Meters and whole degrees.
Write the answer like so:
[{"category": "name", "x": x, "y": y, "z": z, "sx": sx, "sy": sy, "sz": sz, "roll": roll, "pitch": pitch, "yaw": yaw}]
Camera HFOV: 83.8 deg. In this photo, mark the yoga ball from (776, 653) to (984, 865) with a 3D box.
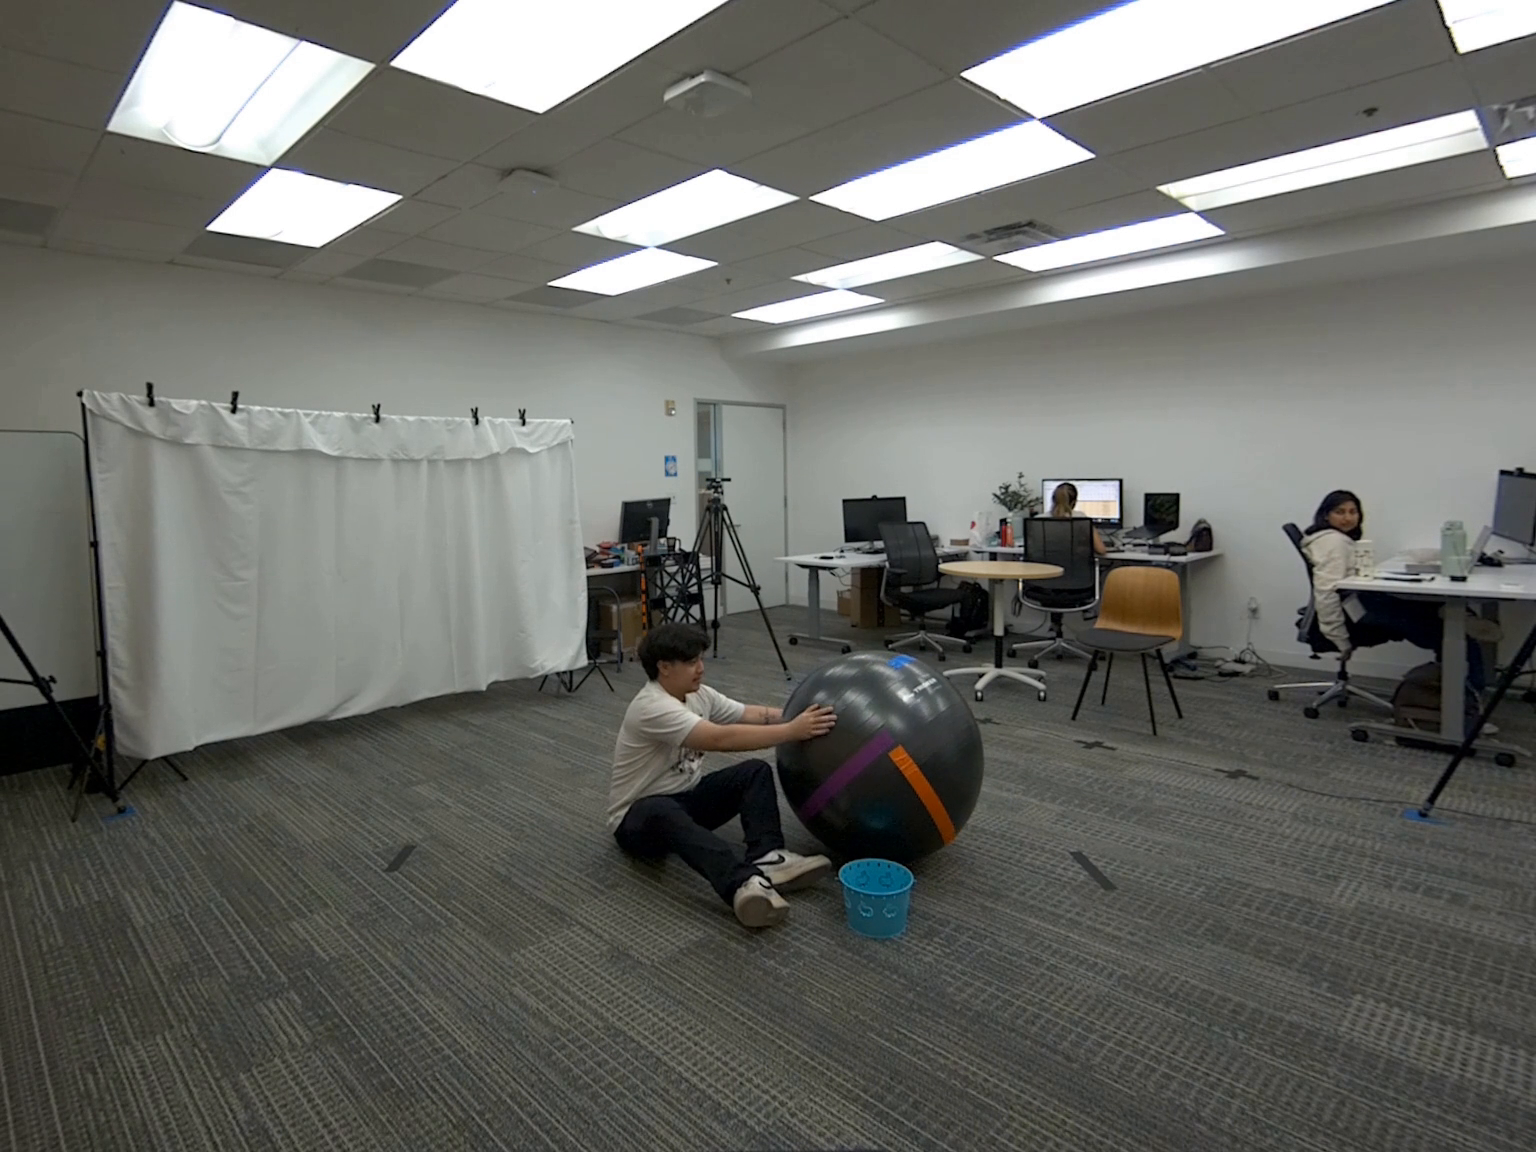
[{"category": "yoga ball", "x": 0.406, "y": 0.662, "z": 3.159, "sx": 0.757, "sy": 0.755, "sz": 0.762, "roll": -1, "pitch": 5, "yaw": -2}]
